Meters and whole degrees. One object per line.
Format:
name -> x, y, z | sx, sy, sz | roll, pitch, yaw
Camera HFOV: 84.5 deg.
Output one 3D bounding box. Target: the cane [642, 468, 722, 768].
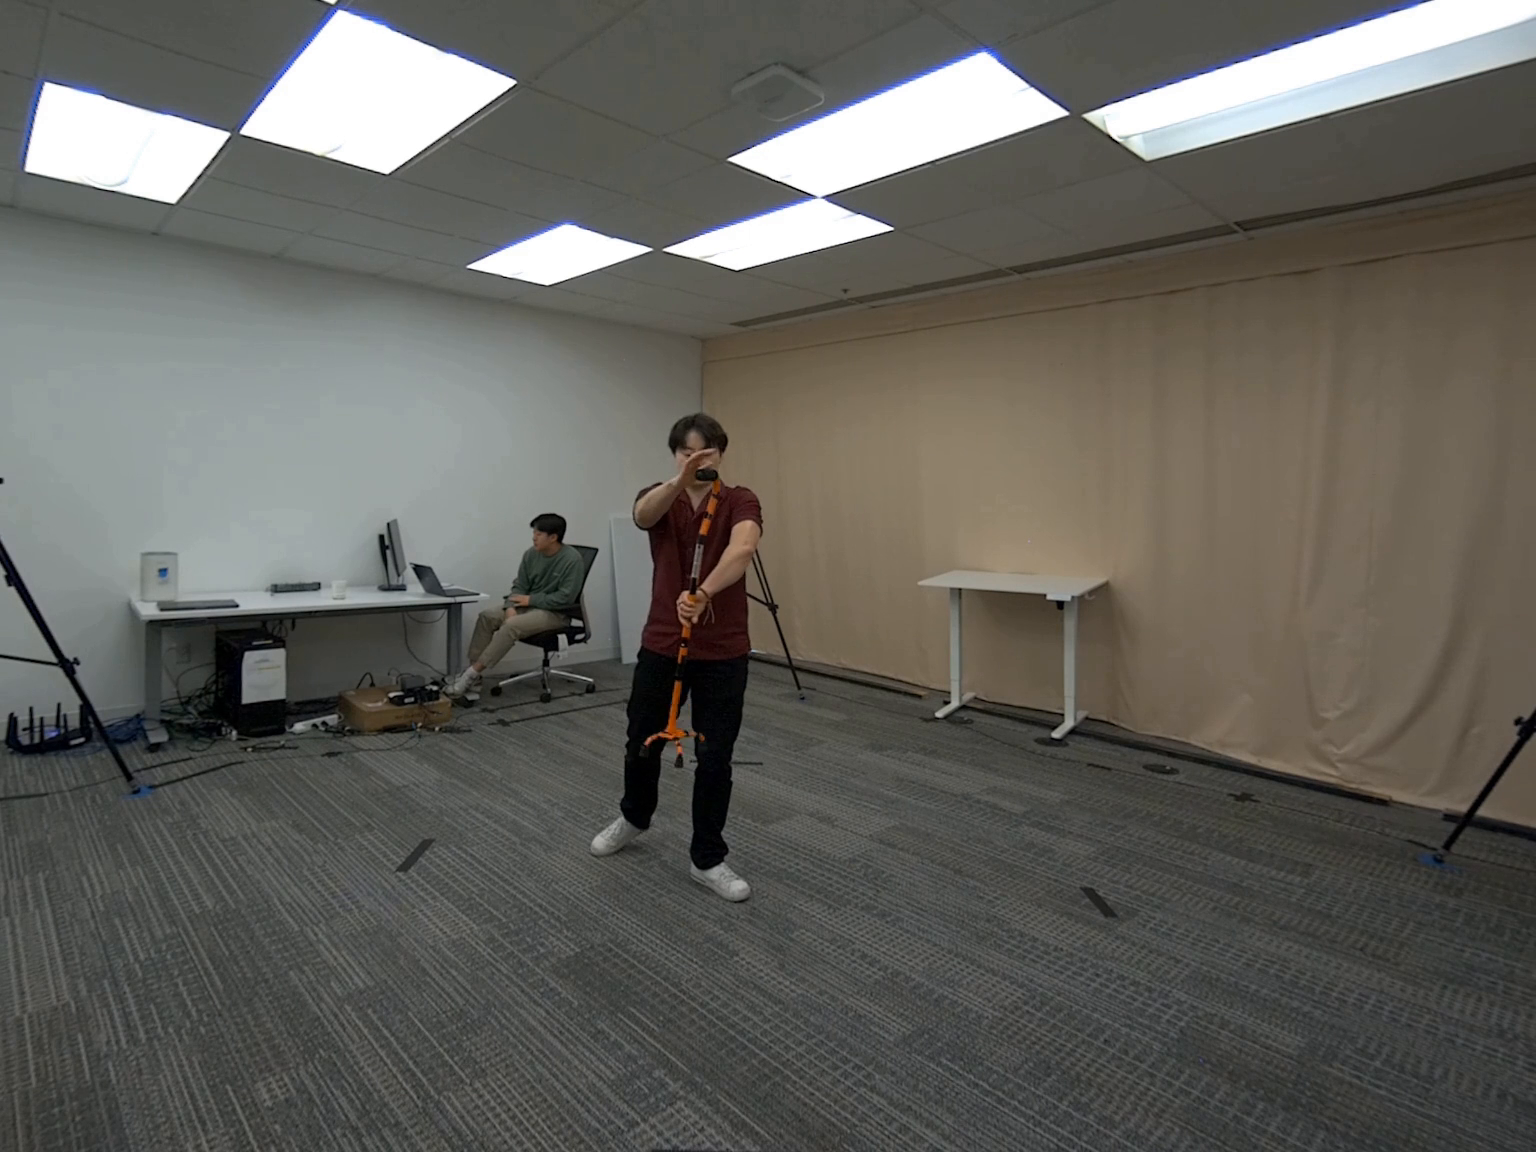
cane -> -0.242, 0.126, 2.622 | 0.155, 0.902, 0.203 | 13, 10, 22
